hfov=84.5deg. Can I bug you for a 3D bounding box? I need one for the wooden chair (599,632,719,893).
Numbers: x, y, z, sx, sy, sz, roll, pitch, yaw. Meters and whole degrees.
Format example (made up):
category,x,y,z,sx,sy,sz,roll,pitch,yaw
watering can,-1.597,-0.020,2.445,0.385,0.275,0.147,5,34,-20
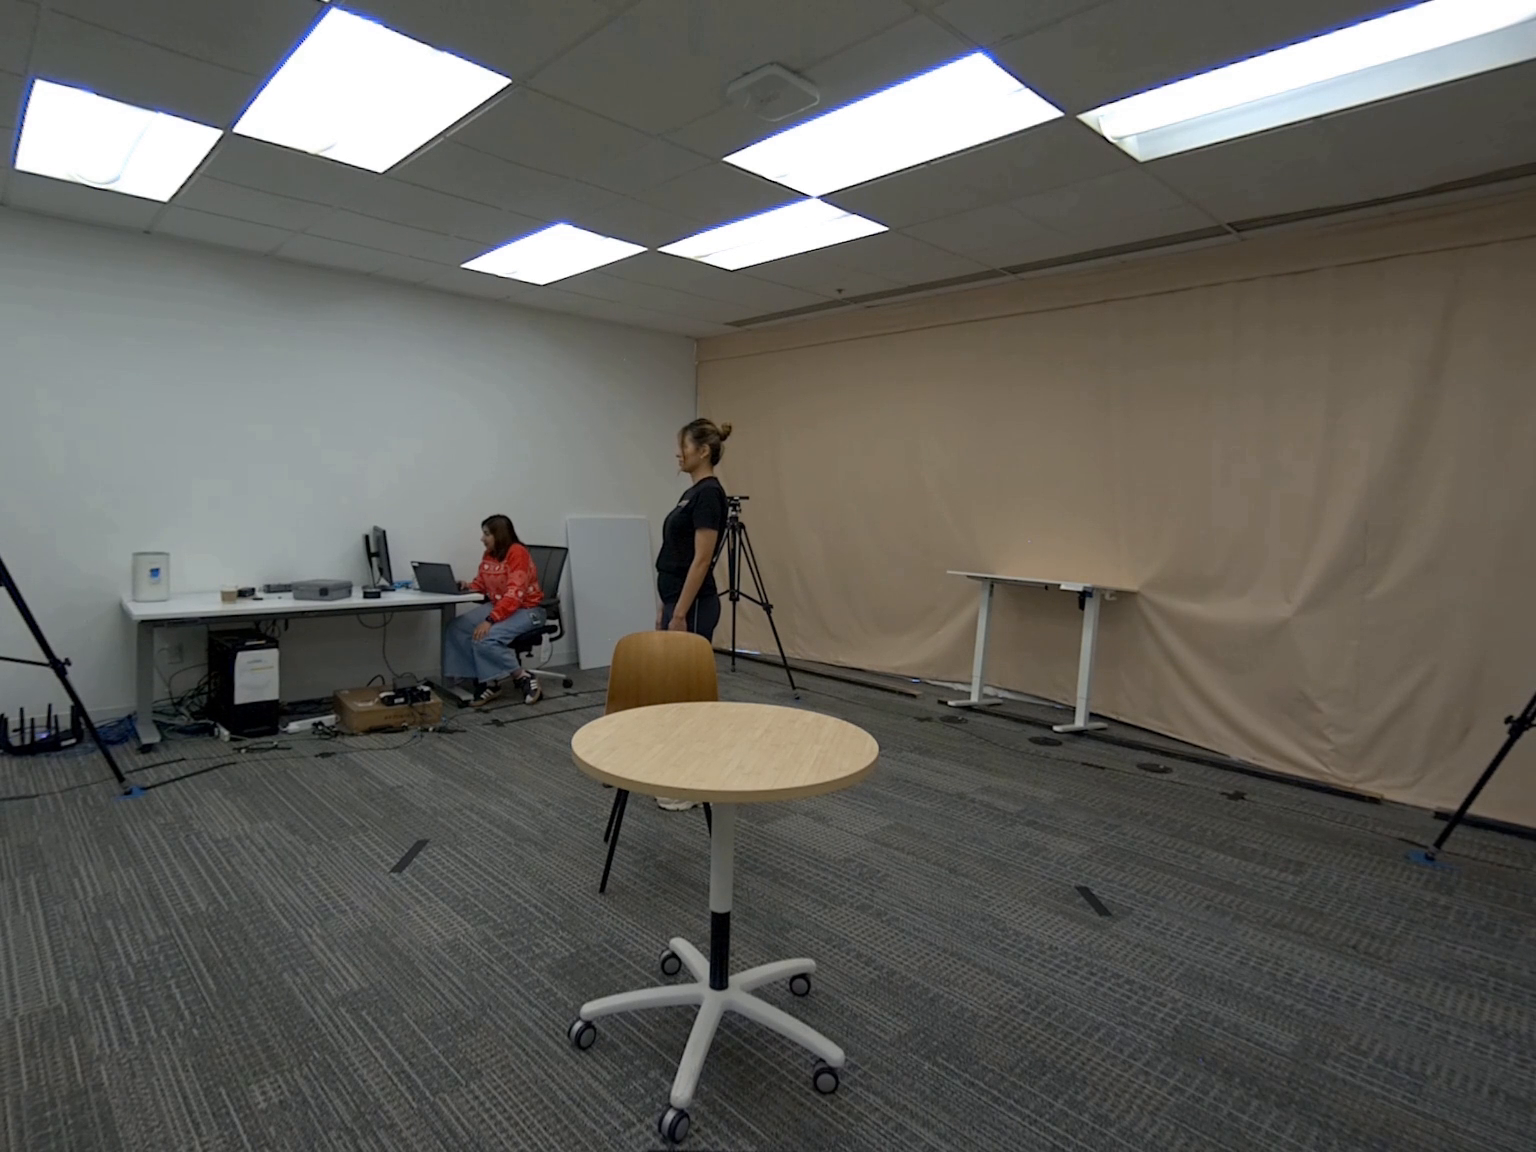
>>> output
category,x,y,z,sx,sy,sz,roll,pitch,yaw
wooden chair,-0.393,0.670,3.143,0.475,0.878,0.526,2,0,-9
